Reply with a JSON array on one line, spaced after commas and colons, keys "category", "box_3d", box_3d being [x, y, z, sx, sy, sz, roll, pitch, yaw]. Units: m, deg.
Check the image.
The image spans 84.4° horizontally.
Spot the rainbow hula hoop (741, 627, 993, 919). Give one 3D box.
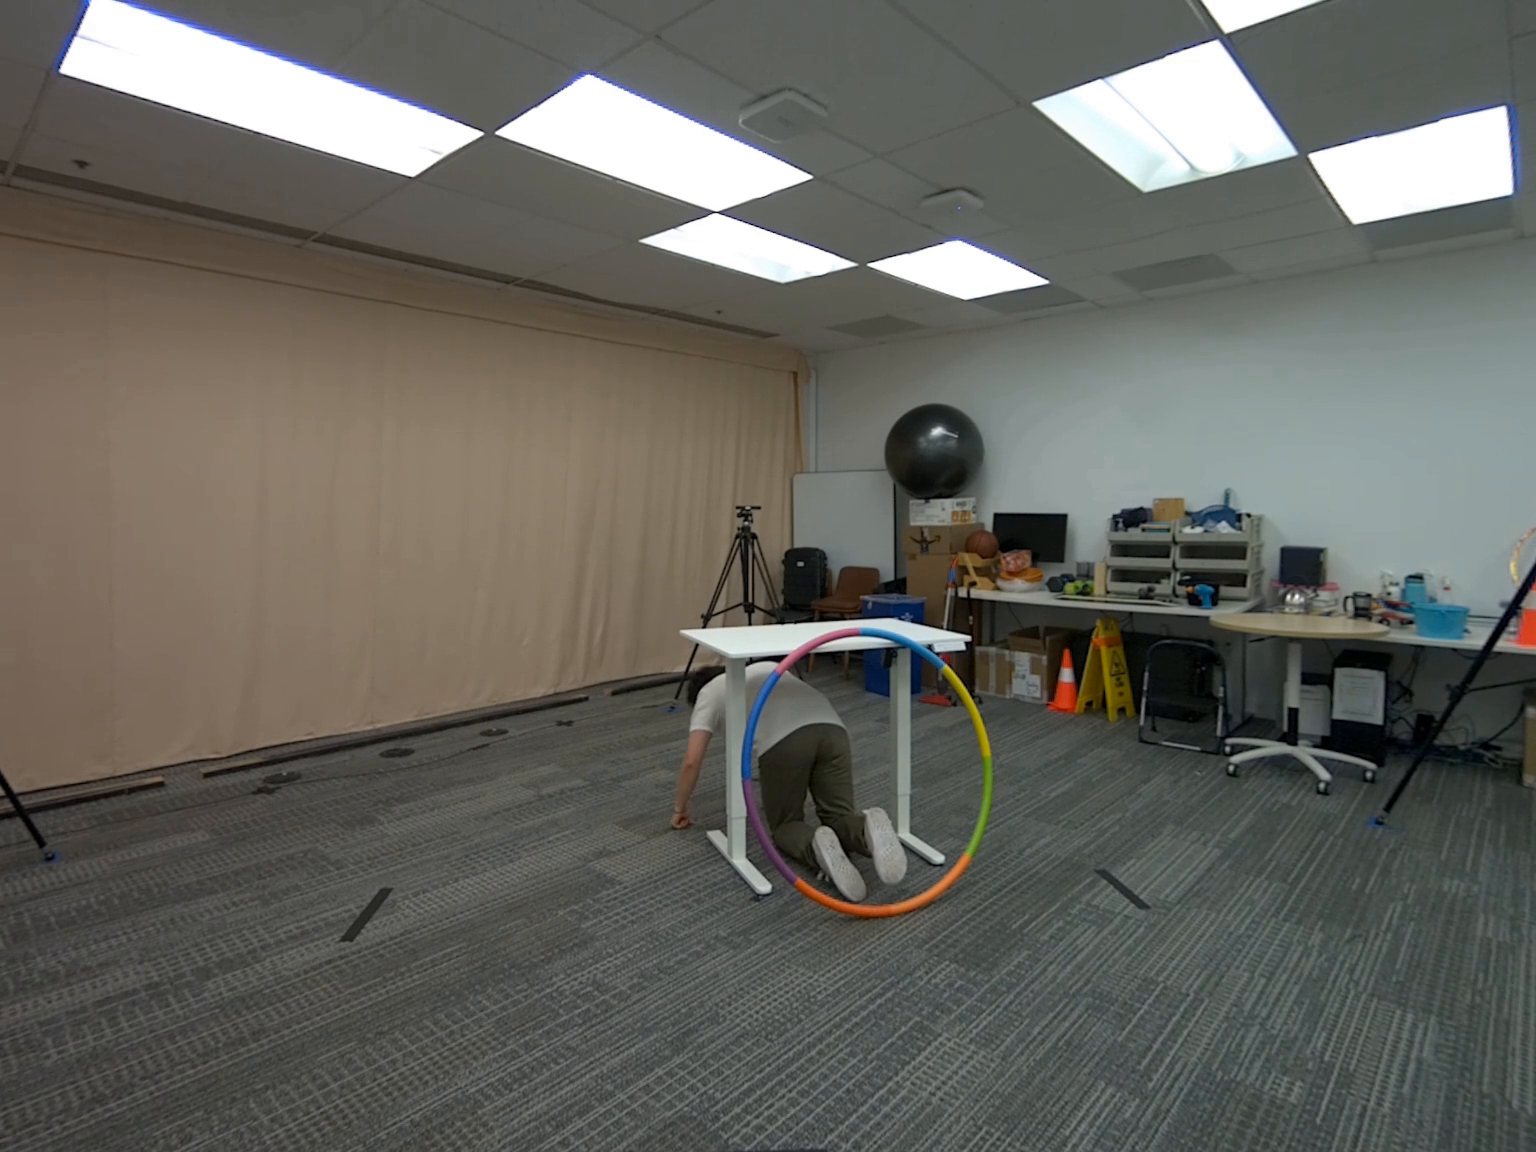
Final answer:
[{"category": "rainbow hula hoop", "box_3d": [0.381, 0.673, 2.970, 0.959, 0.988, 0.036, -2, -13, -20]}]
